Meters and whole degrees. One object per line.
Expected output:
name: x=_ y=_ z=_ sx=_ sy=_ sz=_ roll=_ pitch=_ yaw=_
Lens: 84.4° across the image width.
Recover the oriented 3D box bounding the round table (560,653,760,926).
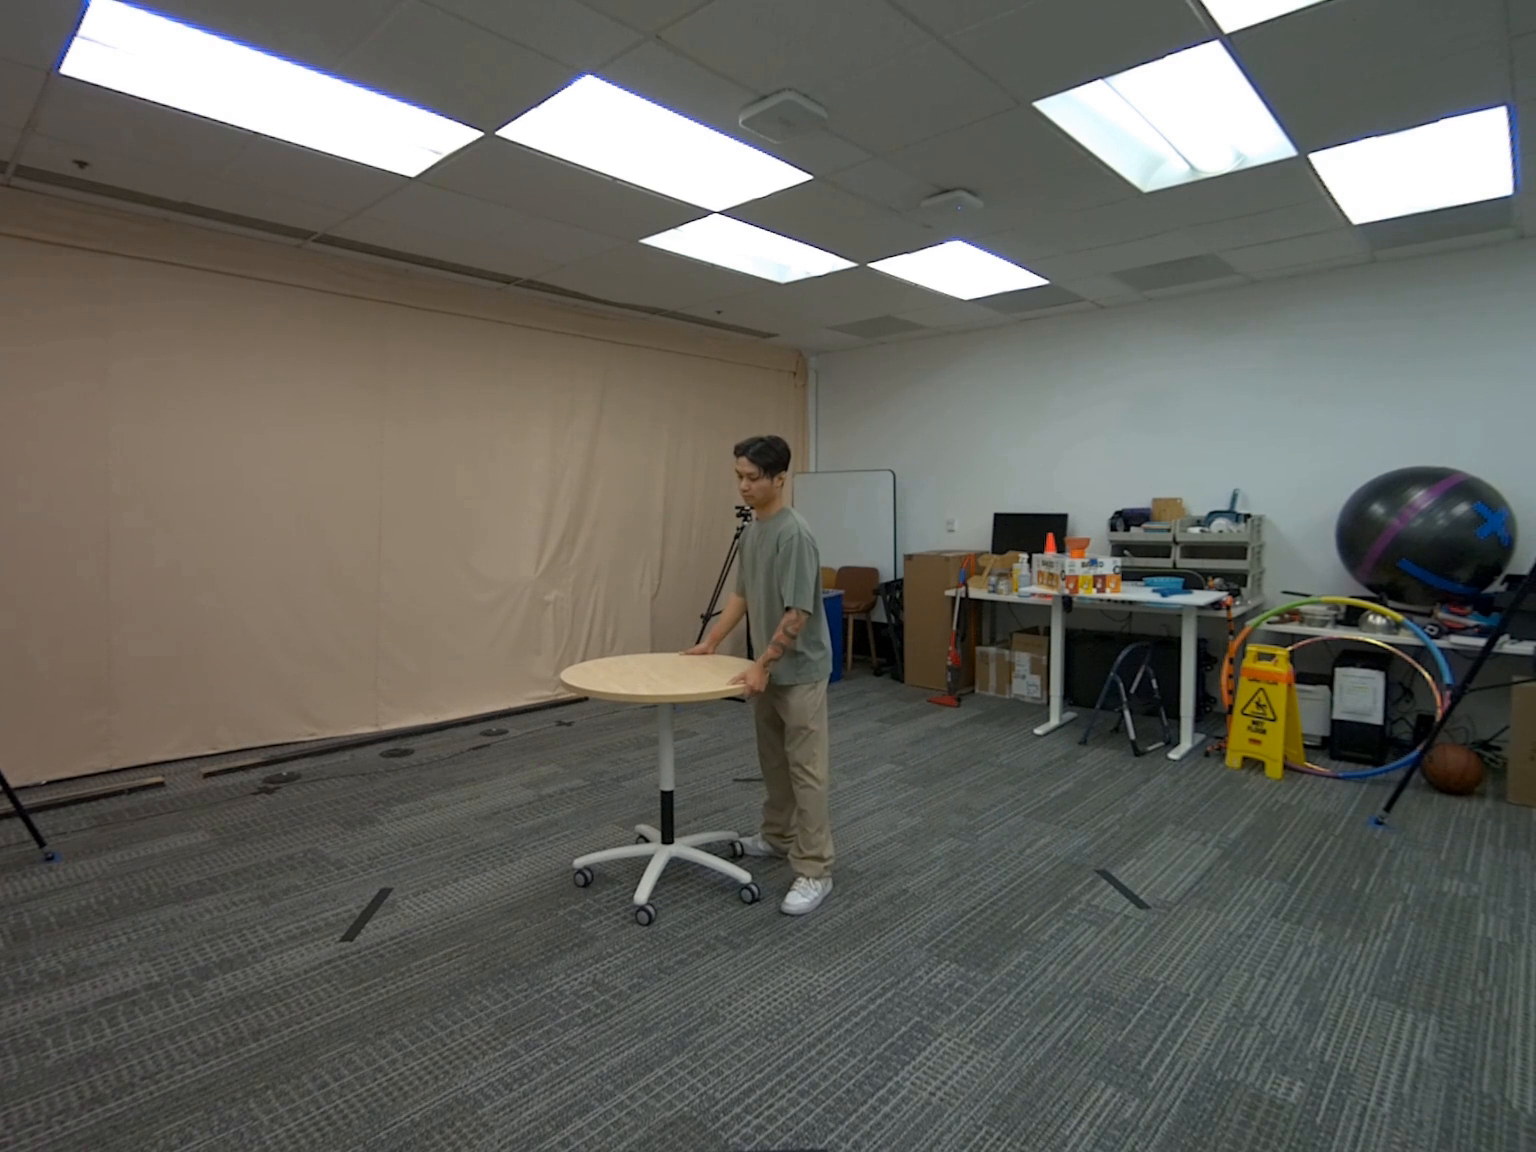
round table: x=-0.379 y=0.745 z=3.113 sx=0.784 sy=0.785 sz=0.788 roll=0 pitch=4 yaw=-2
